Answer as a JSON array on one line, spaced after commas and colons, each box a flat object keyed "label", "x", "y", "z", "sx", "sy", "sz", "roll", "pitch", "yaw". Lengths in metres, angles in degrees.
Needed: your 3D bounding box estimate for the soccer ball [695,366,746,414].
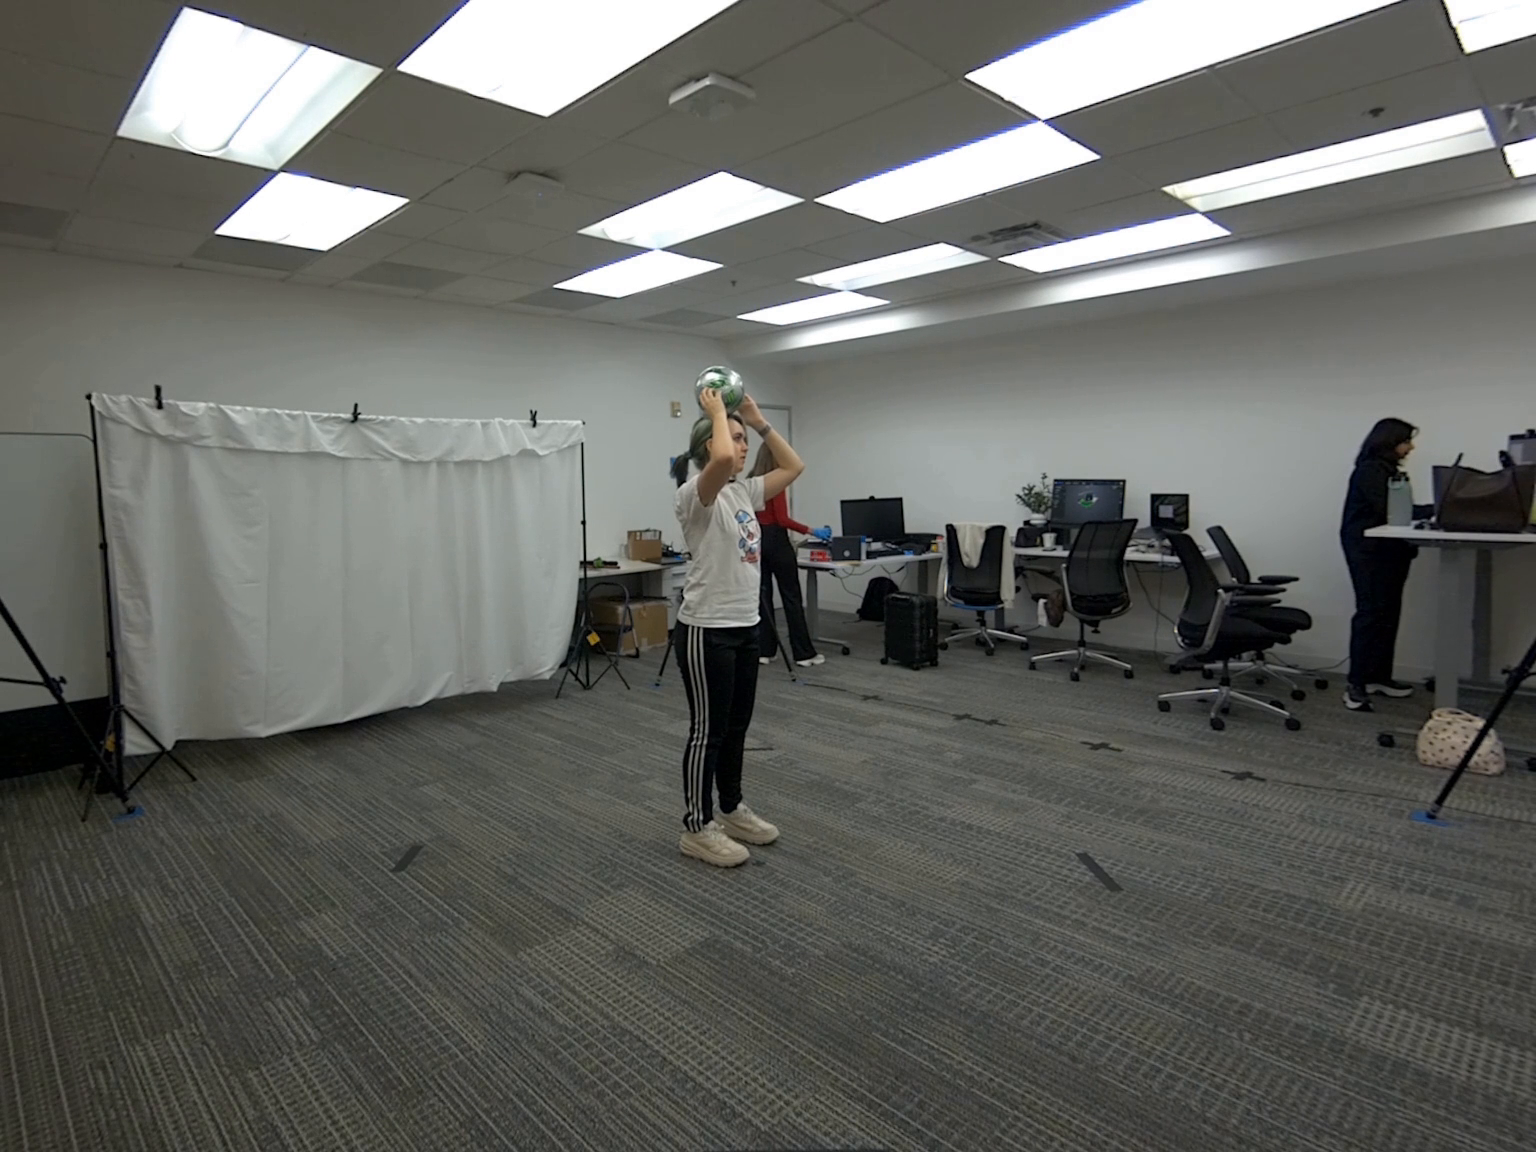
[{"label": "soccer ball", "x": -0.183, "y": -0.685, "z": 3.172, "sx": 0.187, "sy": 0.187, "sz": 0.188, "roll": -1, "pitch": 5, "yaw": -2}]
